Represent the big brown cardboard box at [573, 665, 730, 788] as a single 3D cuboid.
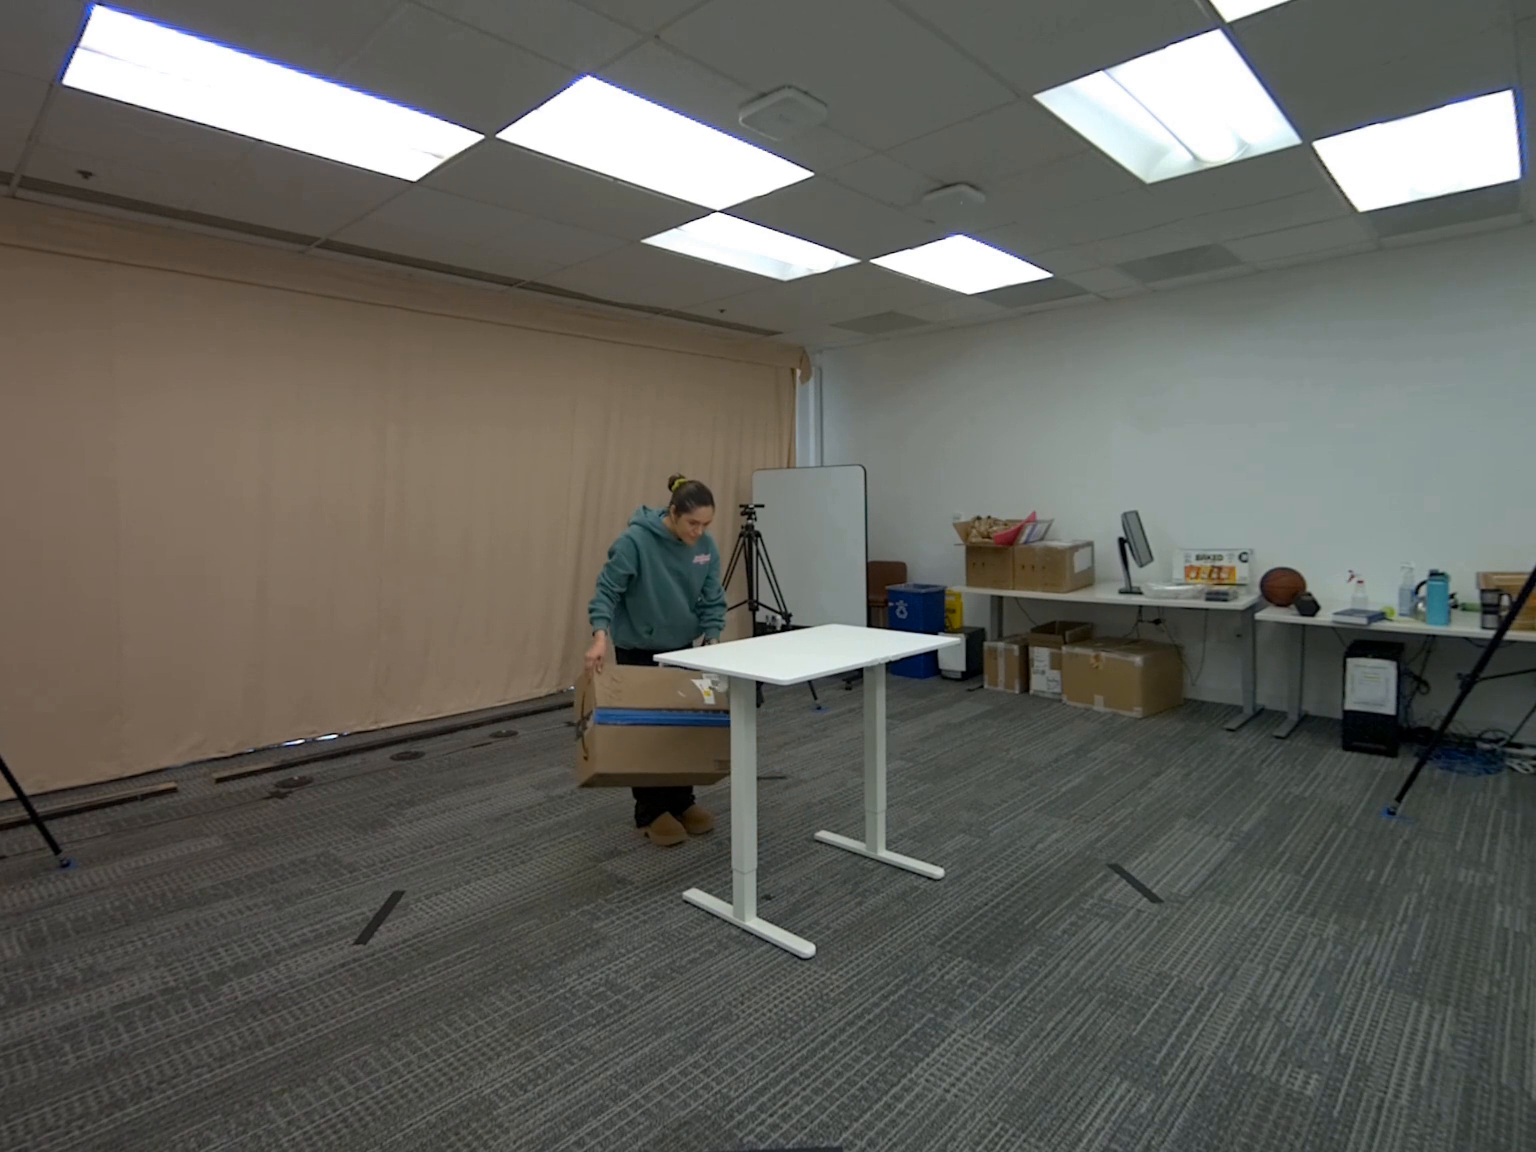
[{"bbox_3d":[-0.445,0.588,3.285,0.573,0.426,0.235,5,-31,-26],"label":"big brown cardboard box"}]
